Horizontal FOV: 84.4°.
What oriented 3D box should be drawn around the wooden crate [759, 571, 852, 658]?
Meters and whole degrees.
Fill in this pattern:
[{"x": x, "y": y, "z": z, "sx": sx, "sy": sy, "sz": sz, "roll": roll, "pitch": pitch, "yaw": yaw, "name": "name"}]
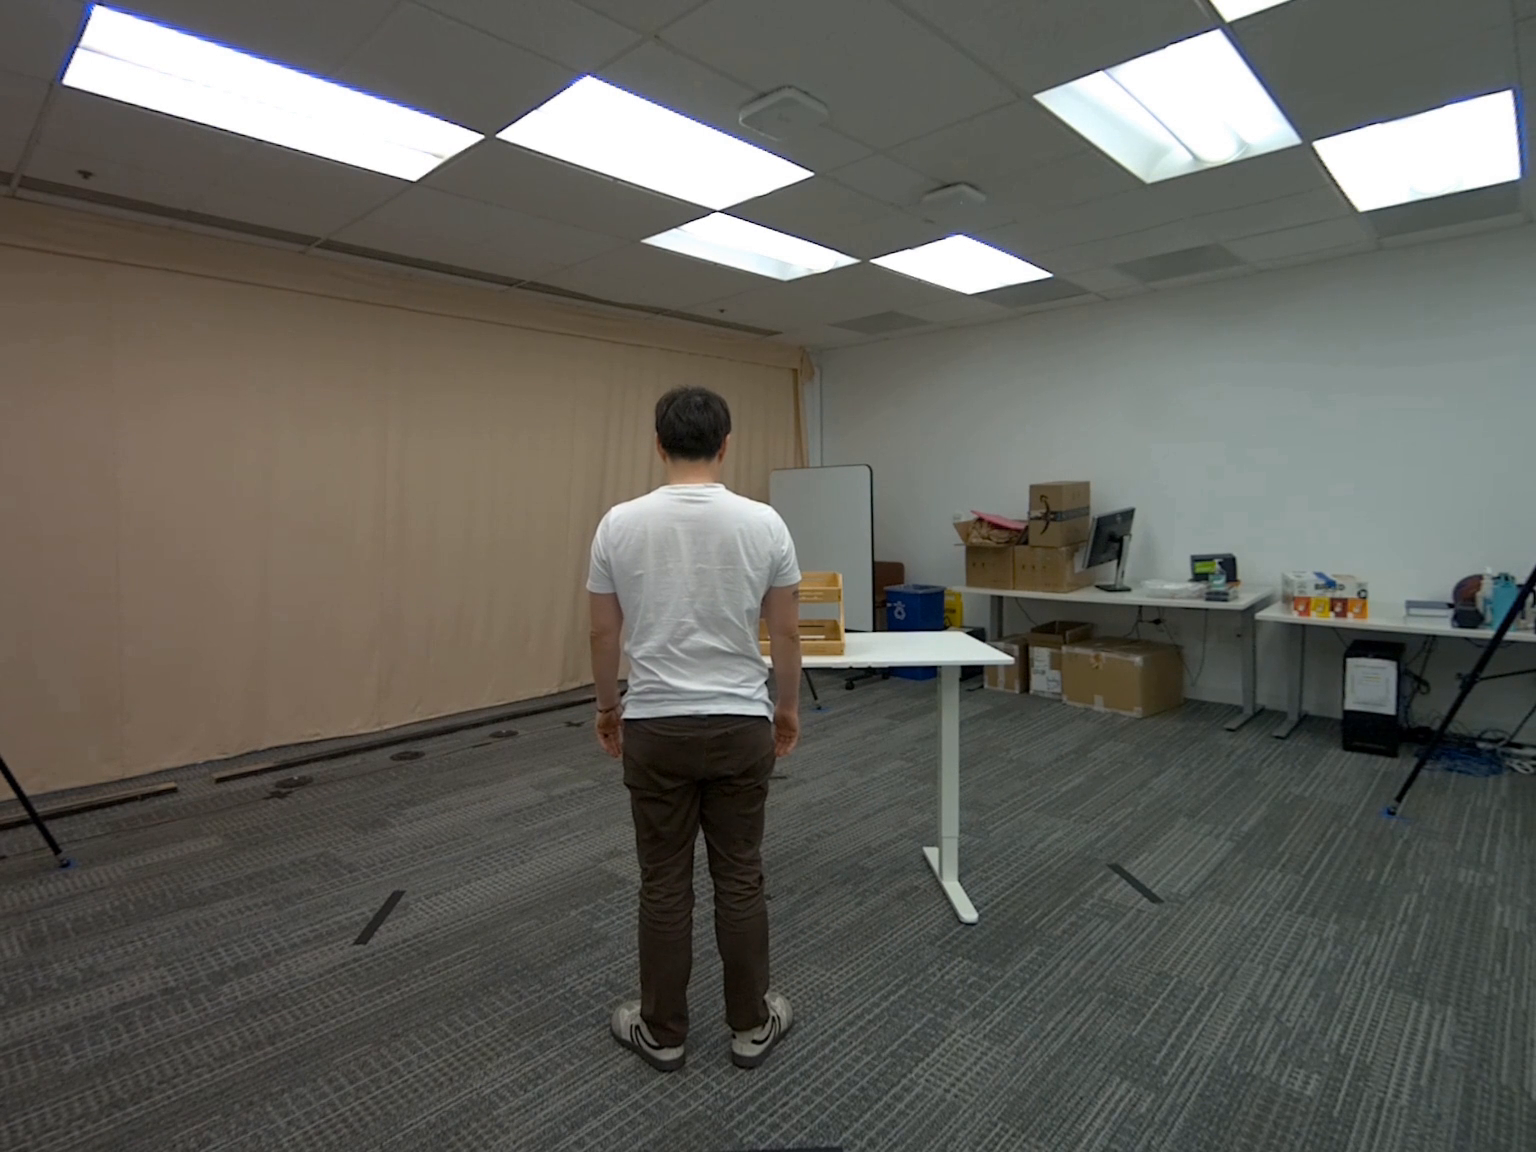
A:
[{"x": 0.111, "y": 0.125, "z": 2.942, "sx": 0.326, "sy": 0.273, "sz": 0.301, "roll": 0, "pitch": 1, "yaw": 2, "name": "wooden crate"}]
